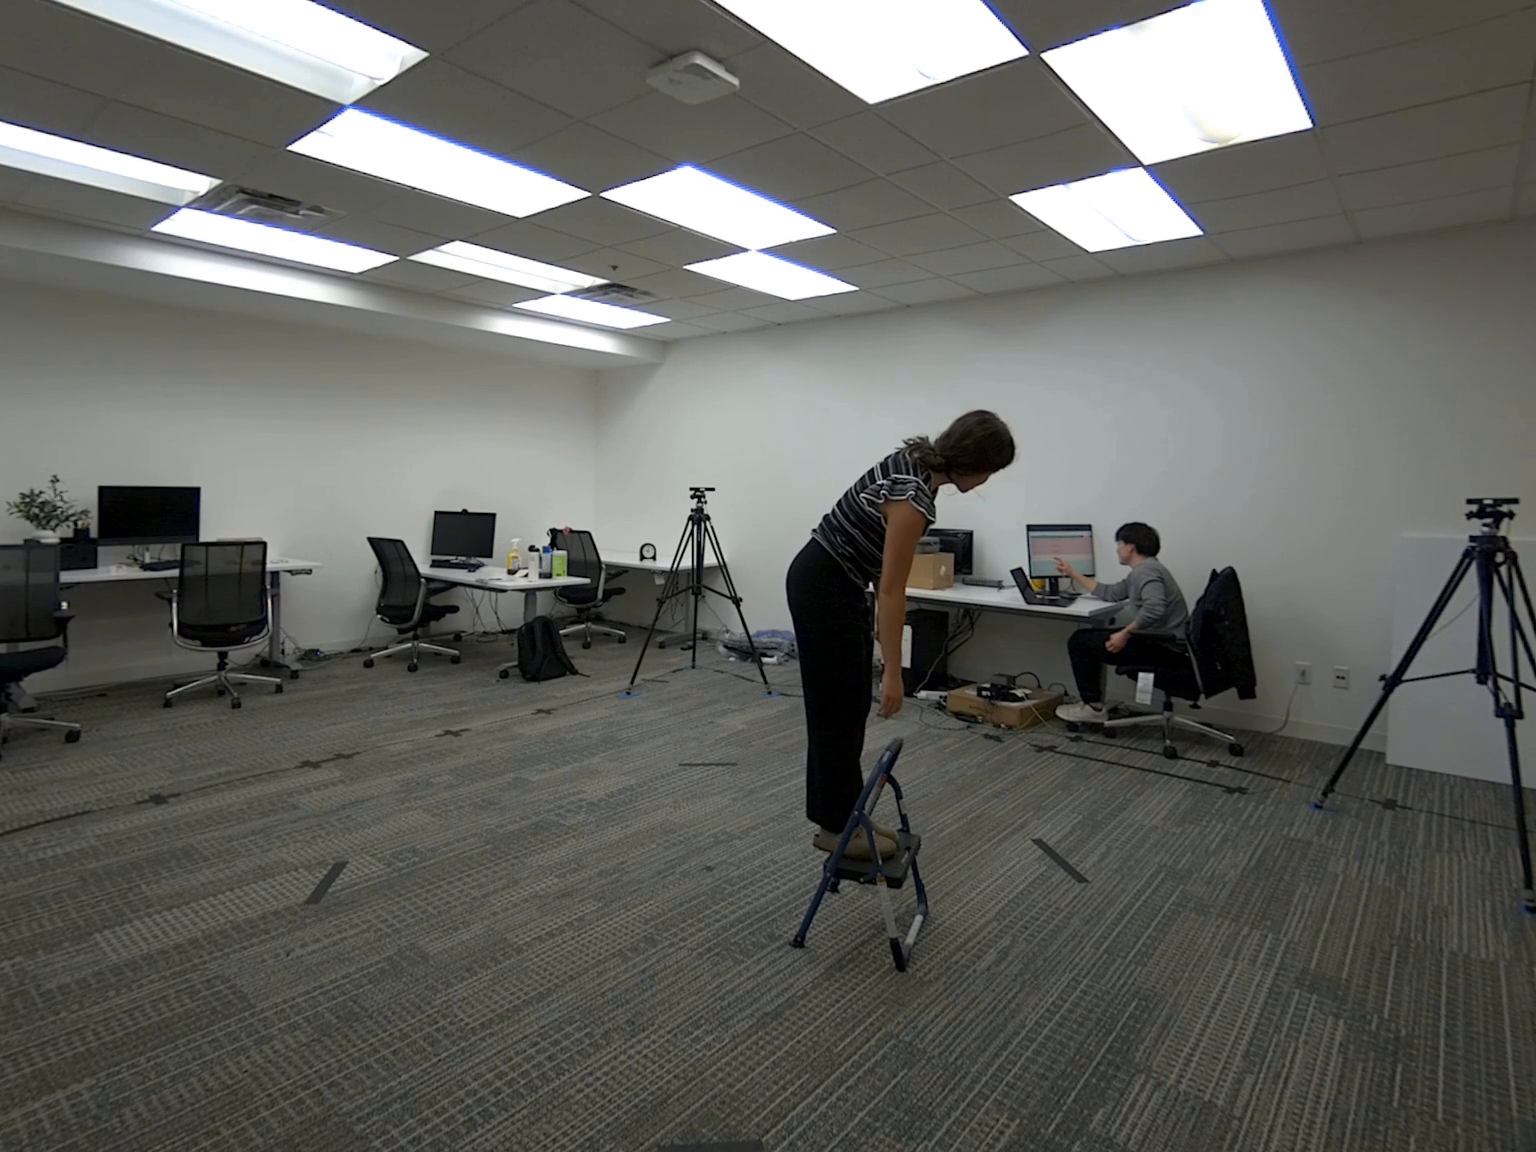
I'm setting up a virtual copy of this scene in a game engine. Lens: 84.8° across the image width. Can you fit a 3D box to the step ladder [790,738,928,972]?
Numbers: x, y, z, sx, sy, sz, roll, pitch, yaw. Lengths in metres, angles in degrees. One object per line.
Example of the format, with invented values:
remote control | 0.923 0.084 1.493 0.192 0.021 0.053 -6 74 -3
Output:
step ladder | 0.307 0.818 2.701 0.357 0.604 0.422 3 4 21
